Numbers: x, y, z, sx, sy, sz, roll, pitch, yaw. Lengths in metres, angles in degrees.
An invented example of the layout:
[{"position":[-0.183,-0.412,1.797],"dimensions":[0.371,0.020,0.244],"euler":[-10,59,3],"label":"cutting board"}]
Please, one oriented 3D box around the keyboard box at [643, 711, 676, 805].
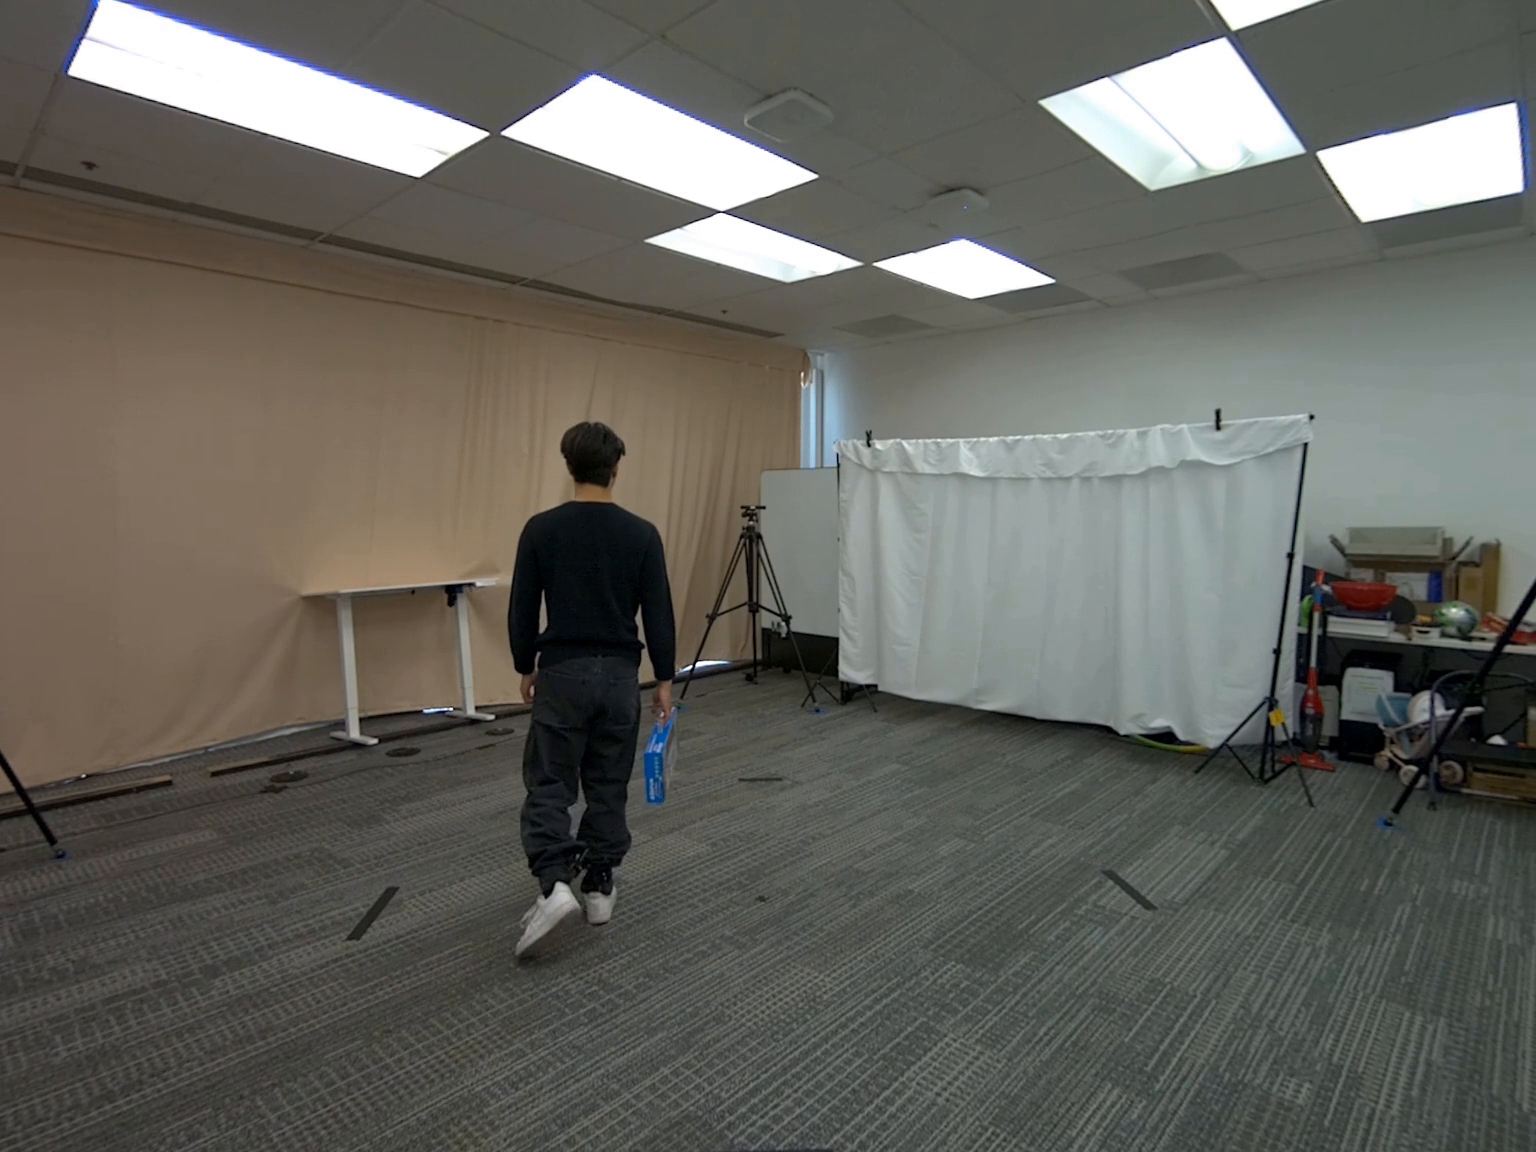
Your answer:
[{"position":[-0.362,0.606,2.930],"dimensions":[0.059,0.175,0.438],"euler":[-2,10,1],"label":"keyboard box"}]
